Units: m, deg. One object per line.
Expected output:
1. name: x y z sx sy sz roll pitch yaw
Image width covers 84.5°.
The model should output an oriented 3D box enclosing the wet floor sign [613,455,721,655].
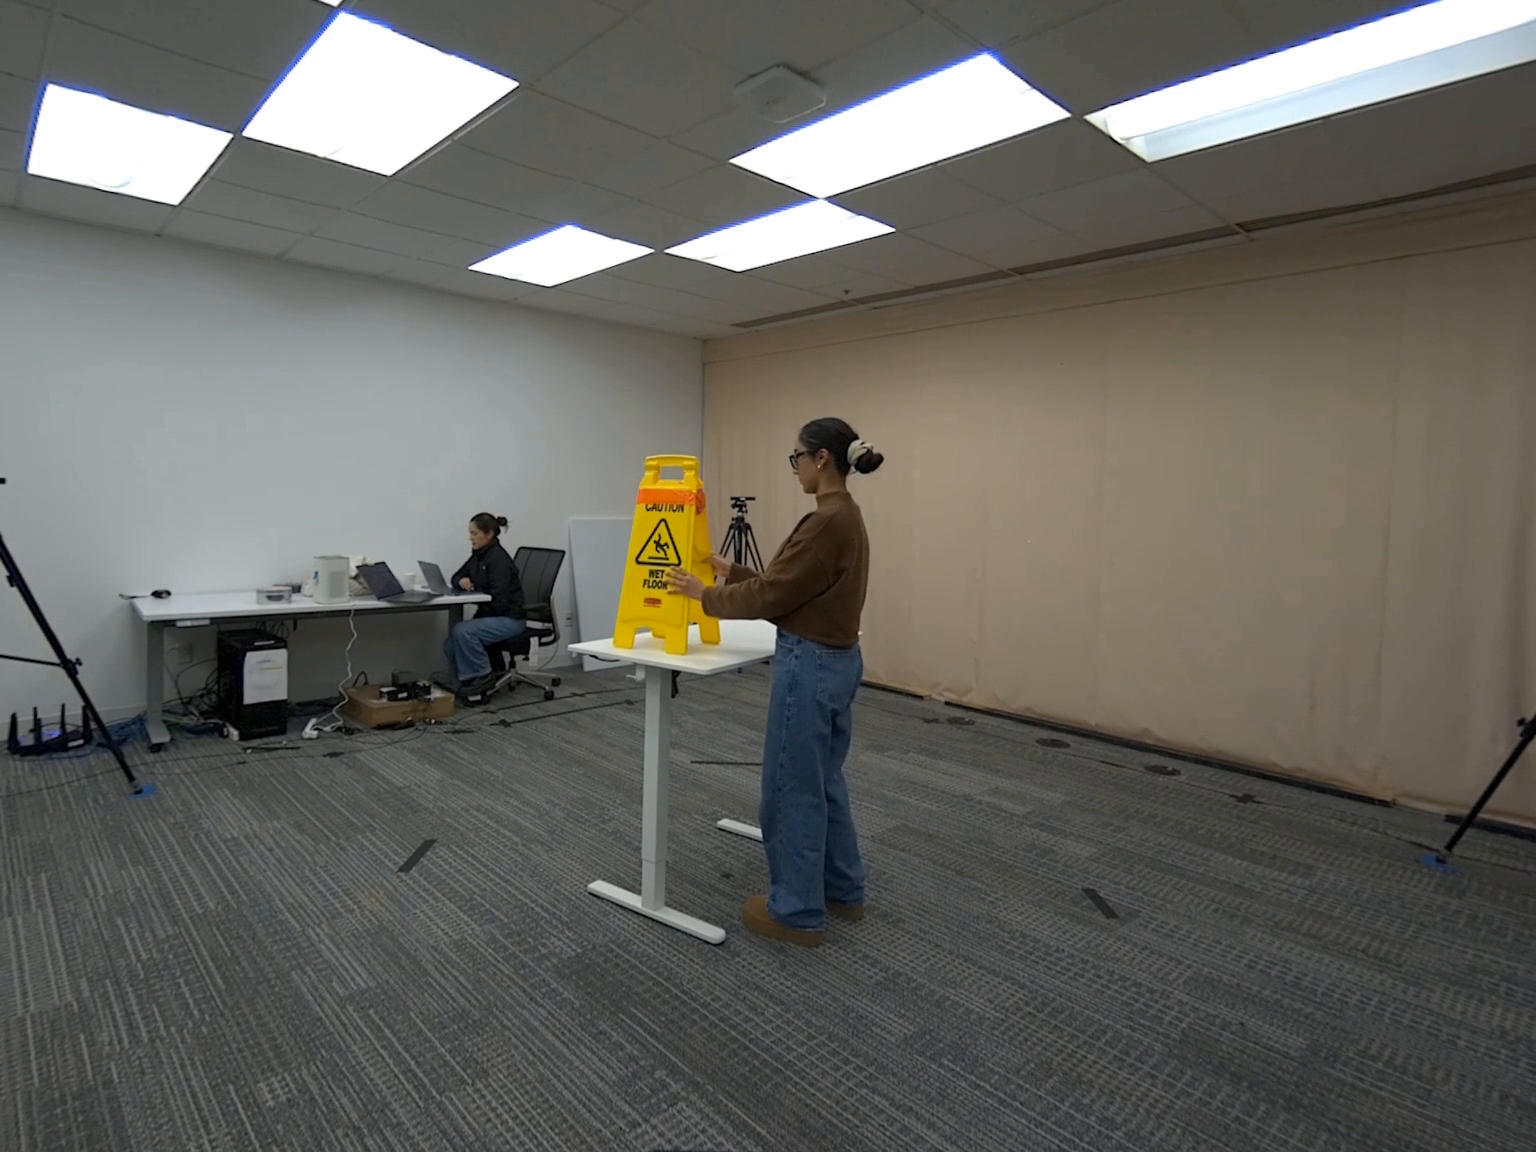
1. wet floor sign: -0.343 -0.082 2.864 0.287 0.645 0.285 2 3 25
